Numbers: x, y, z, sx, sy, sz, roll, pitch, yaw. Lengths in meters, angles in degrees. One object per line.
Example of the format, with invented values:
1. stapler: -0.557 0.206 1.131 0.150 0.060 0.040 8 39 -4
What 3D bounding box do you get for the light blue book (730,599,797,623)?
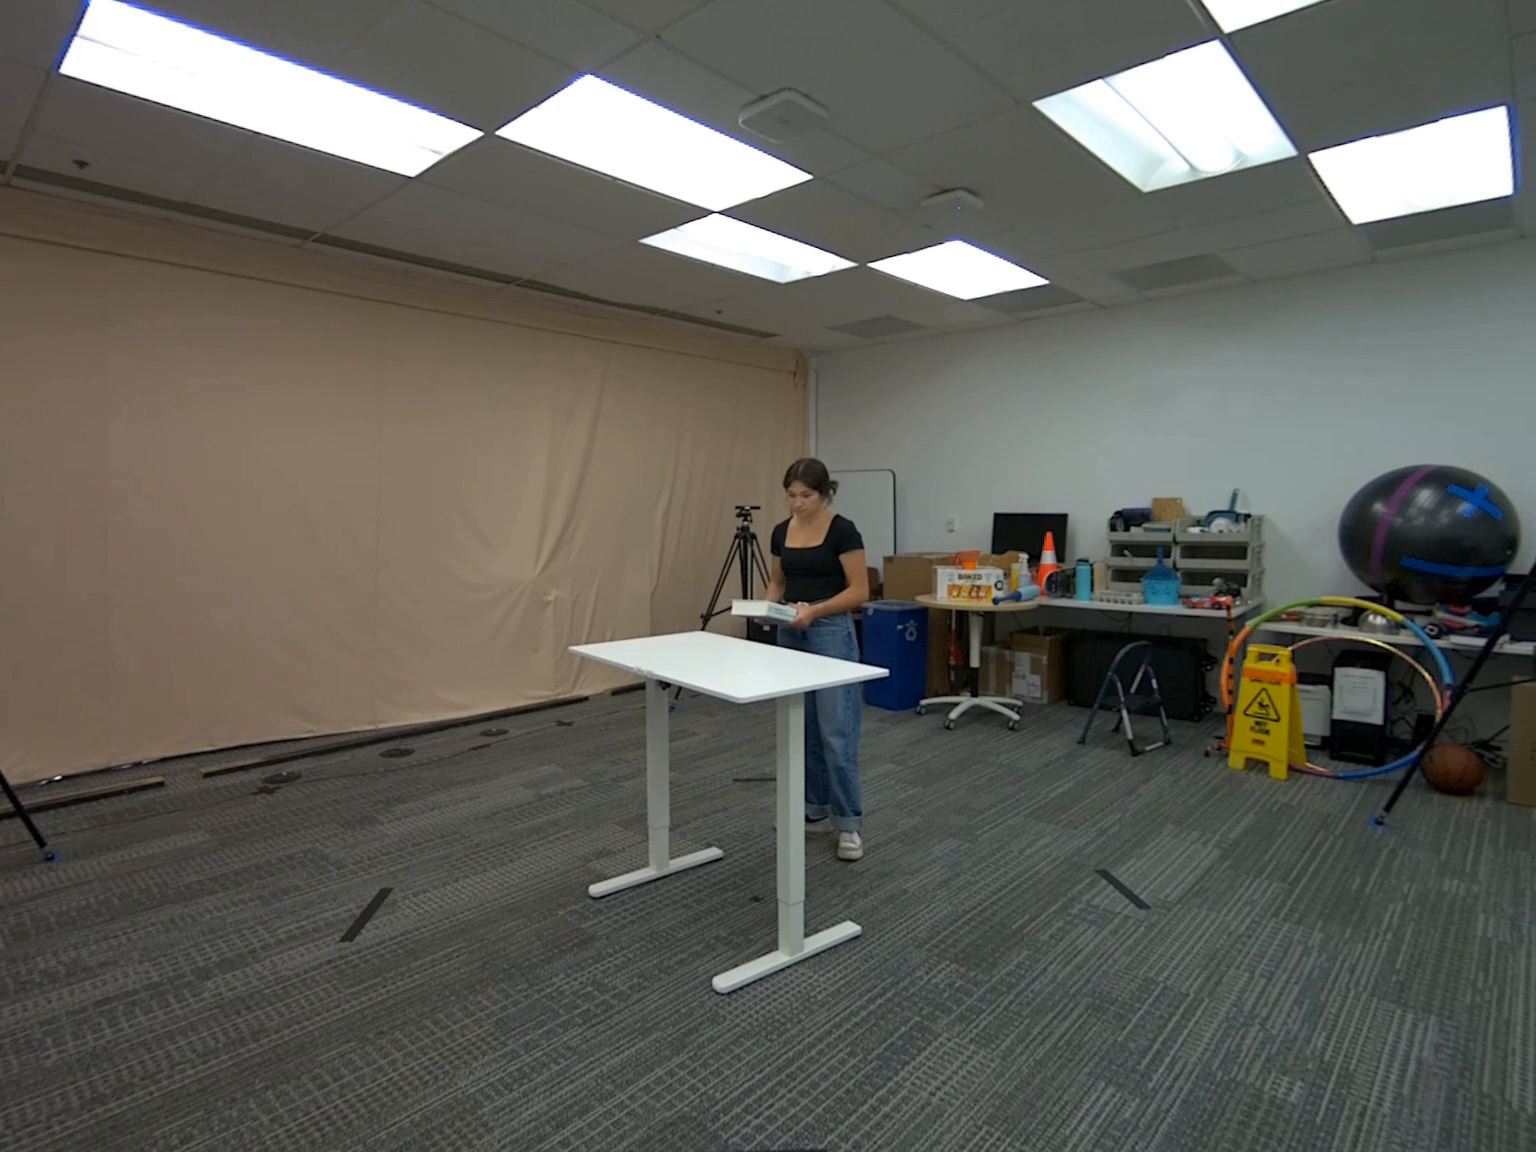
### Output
1. light blue book: -0.002 0.148 3.355 0.197 0.059 0.252 0 -12 41
